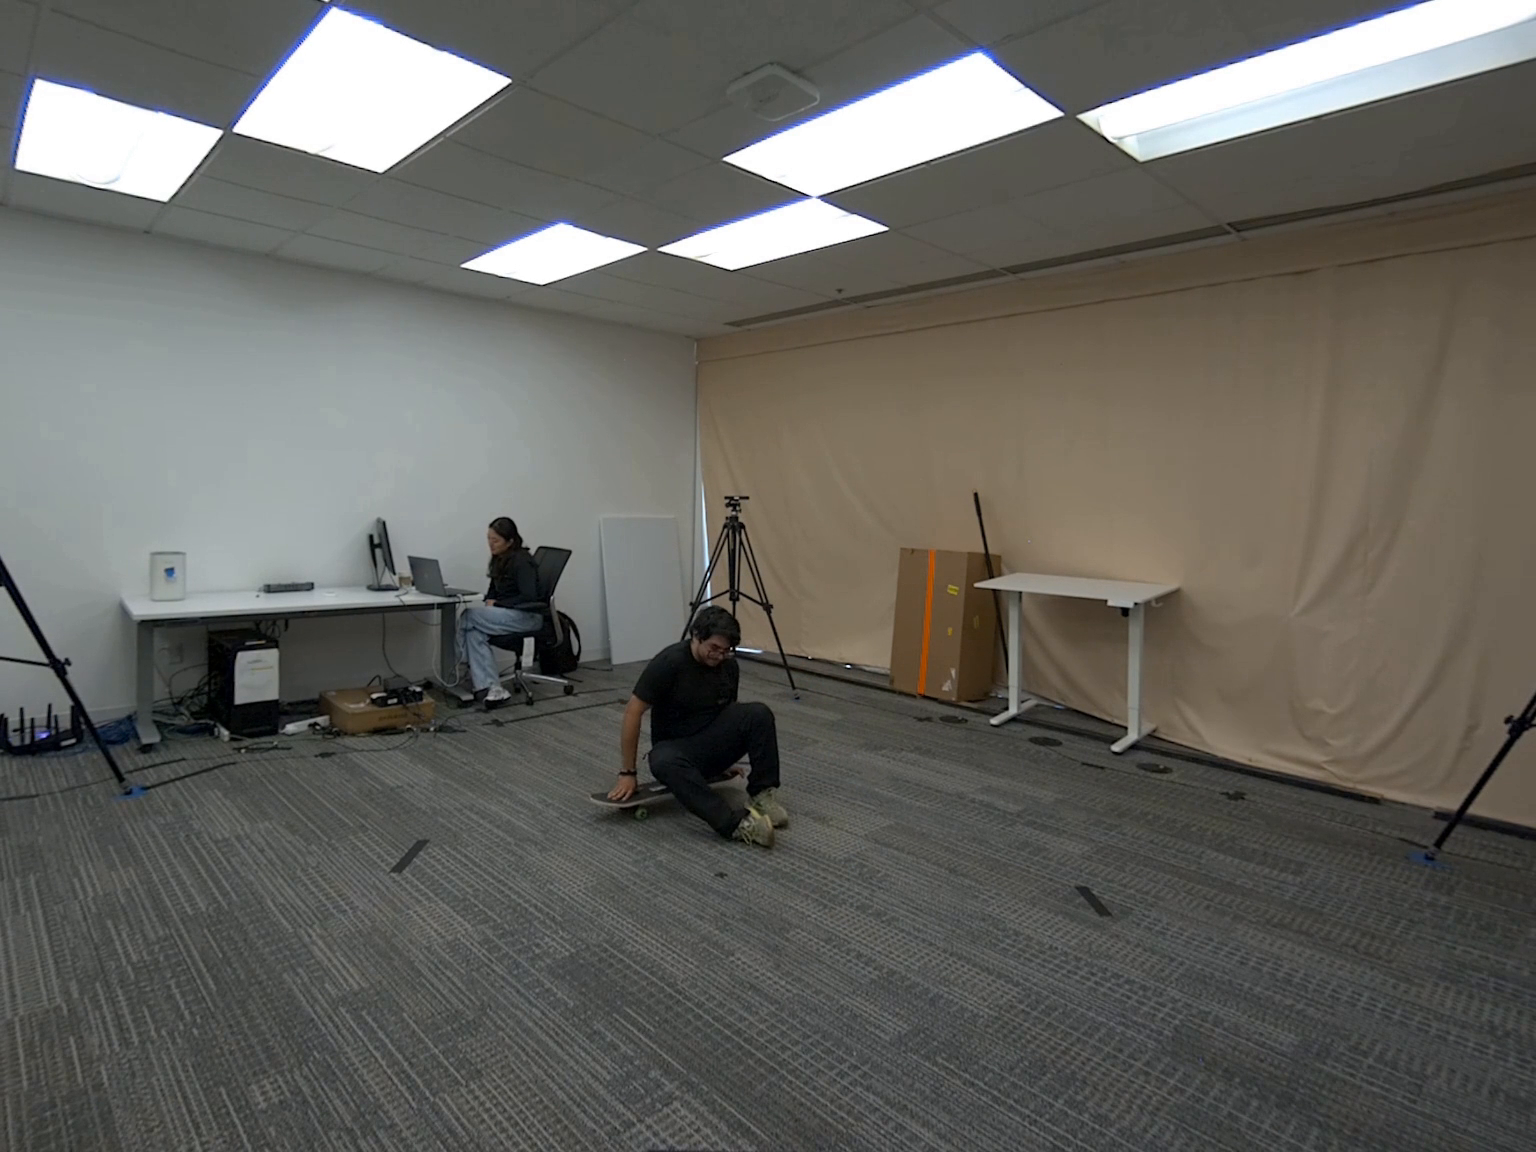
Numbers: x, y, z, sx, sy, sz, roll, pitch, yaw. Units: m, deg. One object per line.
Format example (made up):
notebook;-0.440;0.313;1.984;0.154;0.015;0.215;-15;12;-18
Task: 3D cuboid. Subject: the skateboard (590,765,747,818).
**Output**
skateboard;-0.452;0.976;3.800;0.768;0.110;0.198;-1;4;-38
